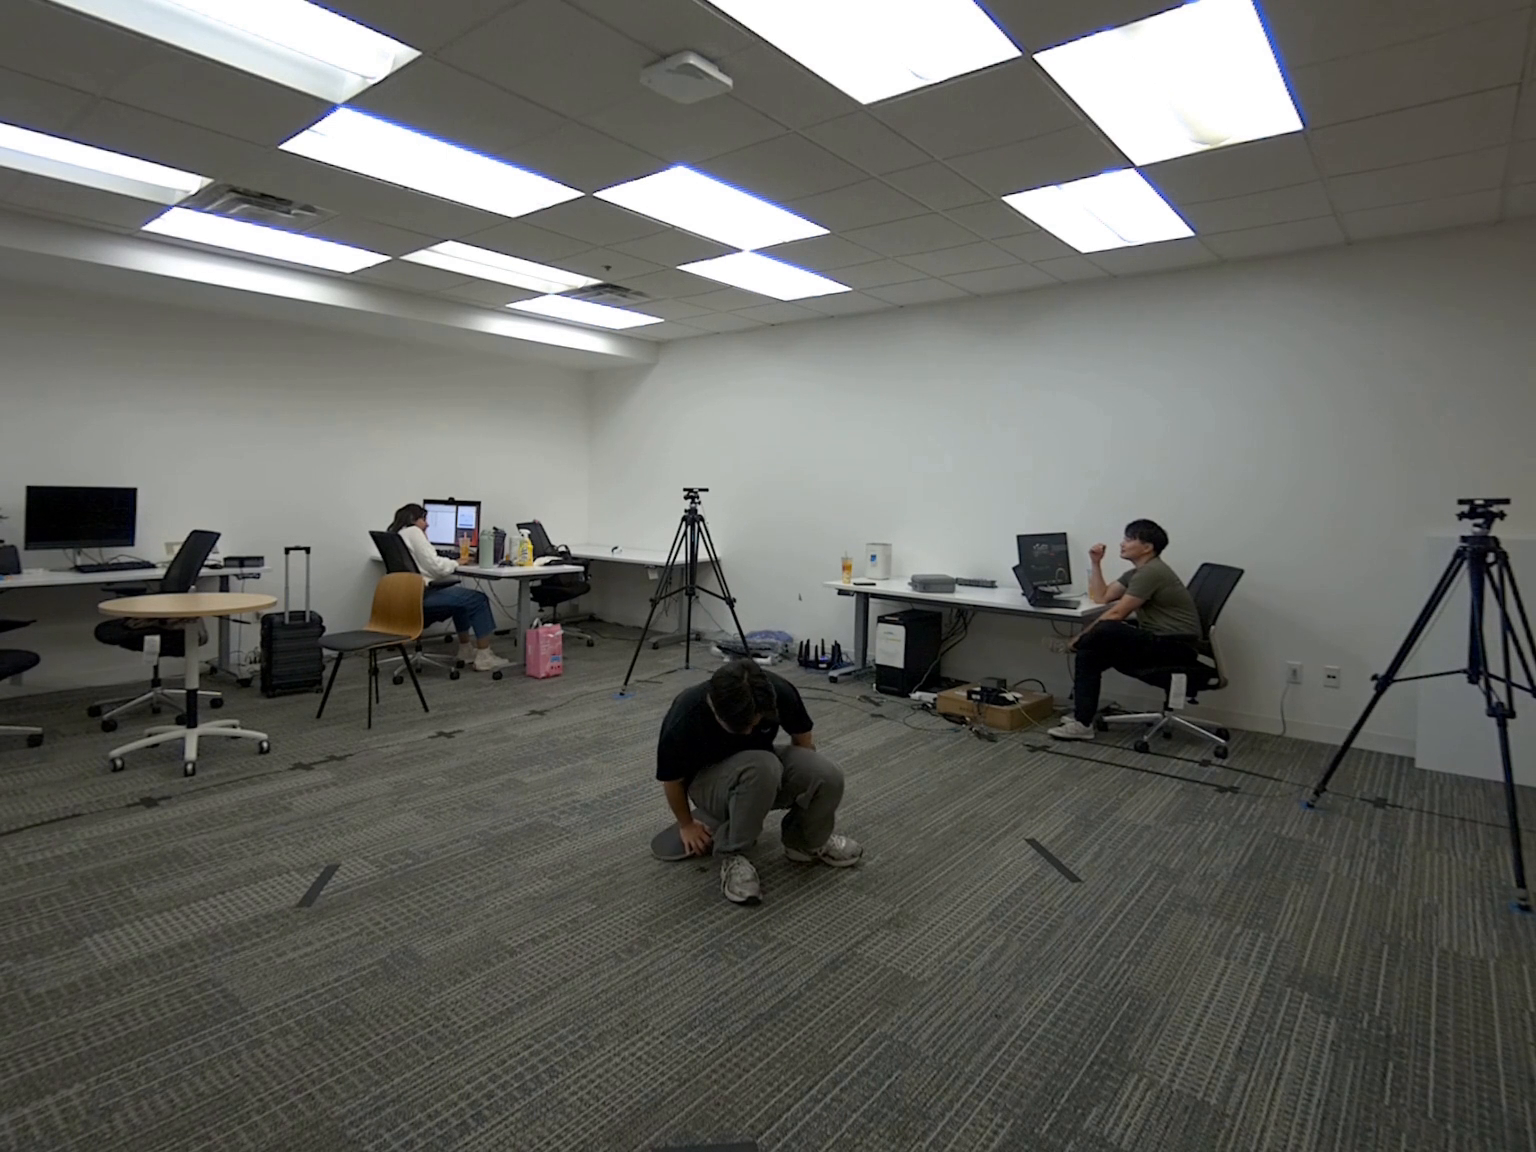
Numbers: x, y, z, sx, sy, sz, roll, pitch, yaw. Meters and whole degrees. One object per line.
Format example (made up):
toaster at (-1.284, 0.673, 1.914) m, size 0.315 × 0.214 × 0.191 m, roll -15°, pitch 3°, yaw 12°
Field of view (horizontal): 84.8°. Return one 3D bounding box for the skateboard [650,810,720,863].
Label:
skateboard at (-0.128, 0.910, 3.372) m, size 0.776 × 0.108 × 0.200 m, roll -28°, pitch 25°, yaw -26°
